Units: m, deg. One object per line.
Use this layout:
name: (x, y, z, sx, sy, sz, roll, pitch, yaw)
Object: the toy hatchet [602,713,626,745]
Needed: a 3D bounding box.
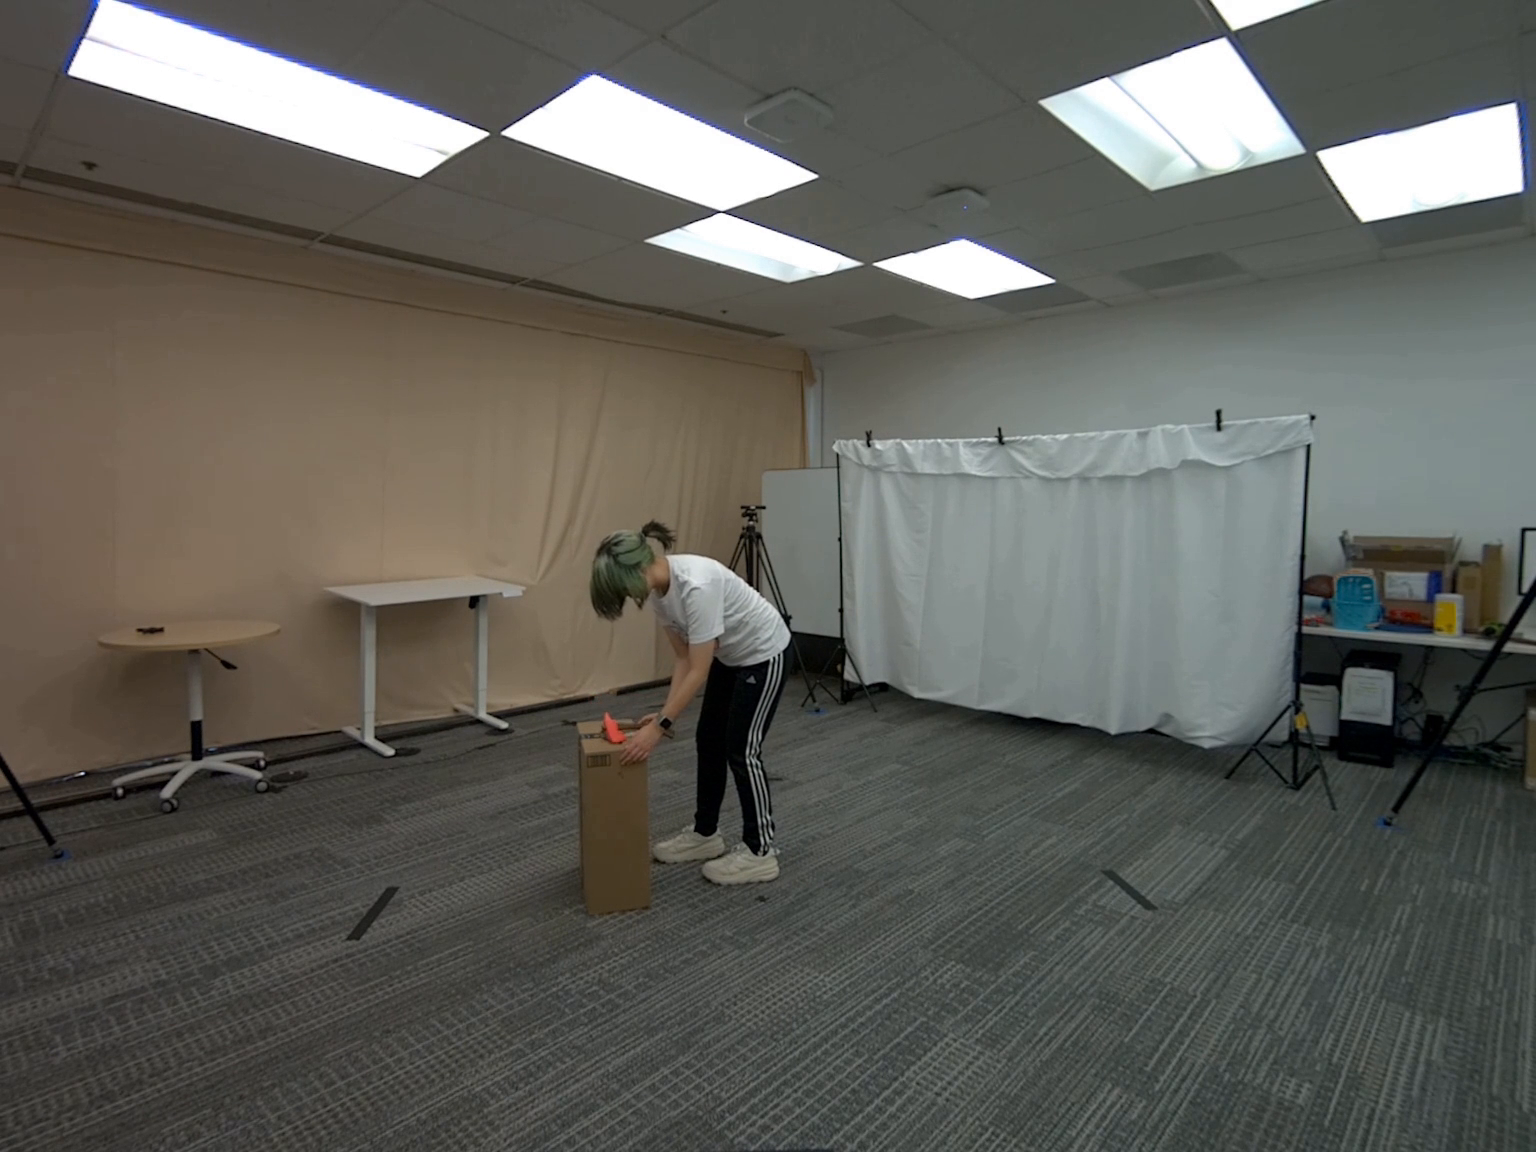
toy hatchet: (-0.462, 0.566, 3.002, 0.268, 0.029, 0.133, 16, 31, -7)
